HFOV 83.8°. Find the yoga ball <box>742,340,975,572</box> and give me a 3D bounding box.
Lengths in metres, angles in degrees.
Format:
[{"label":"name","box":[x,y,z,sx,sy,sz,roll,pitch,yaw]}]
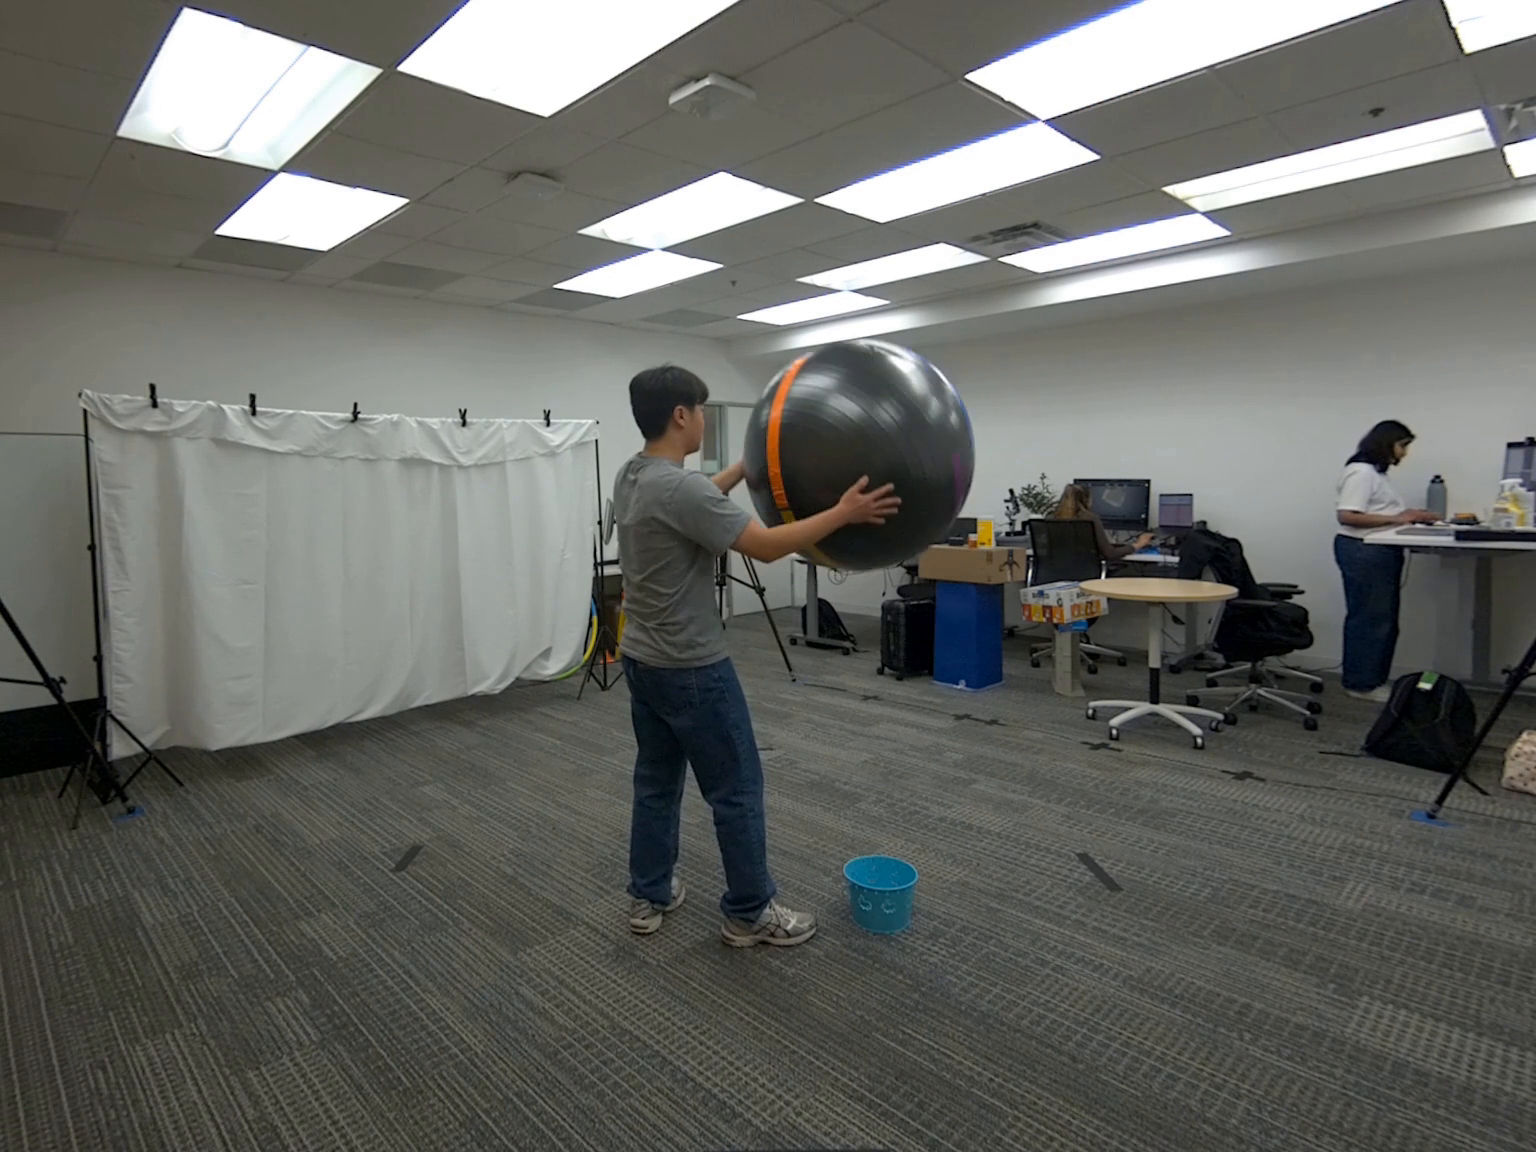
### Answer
[{"label":"yoga ball","box":[0.290,-0.381,2.837,0.757,0.755,0.762,-1,5,-2]}]
